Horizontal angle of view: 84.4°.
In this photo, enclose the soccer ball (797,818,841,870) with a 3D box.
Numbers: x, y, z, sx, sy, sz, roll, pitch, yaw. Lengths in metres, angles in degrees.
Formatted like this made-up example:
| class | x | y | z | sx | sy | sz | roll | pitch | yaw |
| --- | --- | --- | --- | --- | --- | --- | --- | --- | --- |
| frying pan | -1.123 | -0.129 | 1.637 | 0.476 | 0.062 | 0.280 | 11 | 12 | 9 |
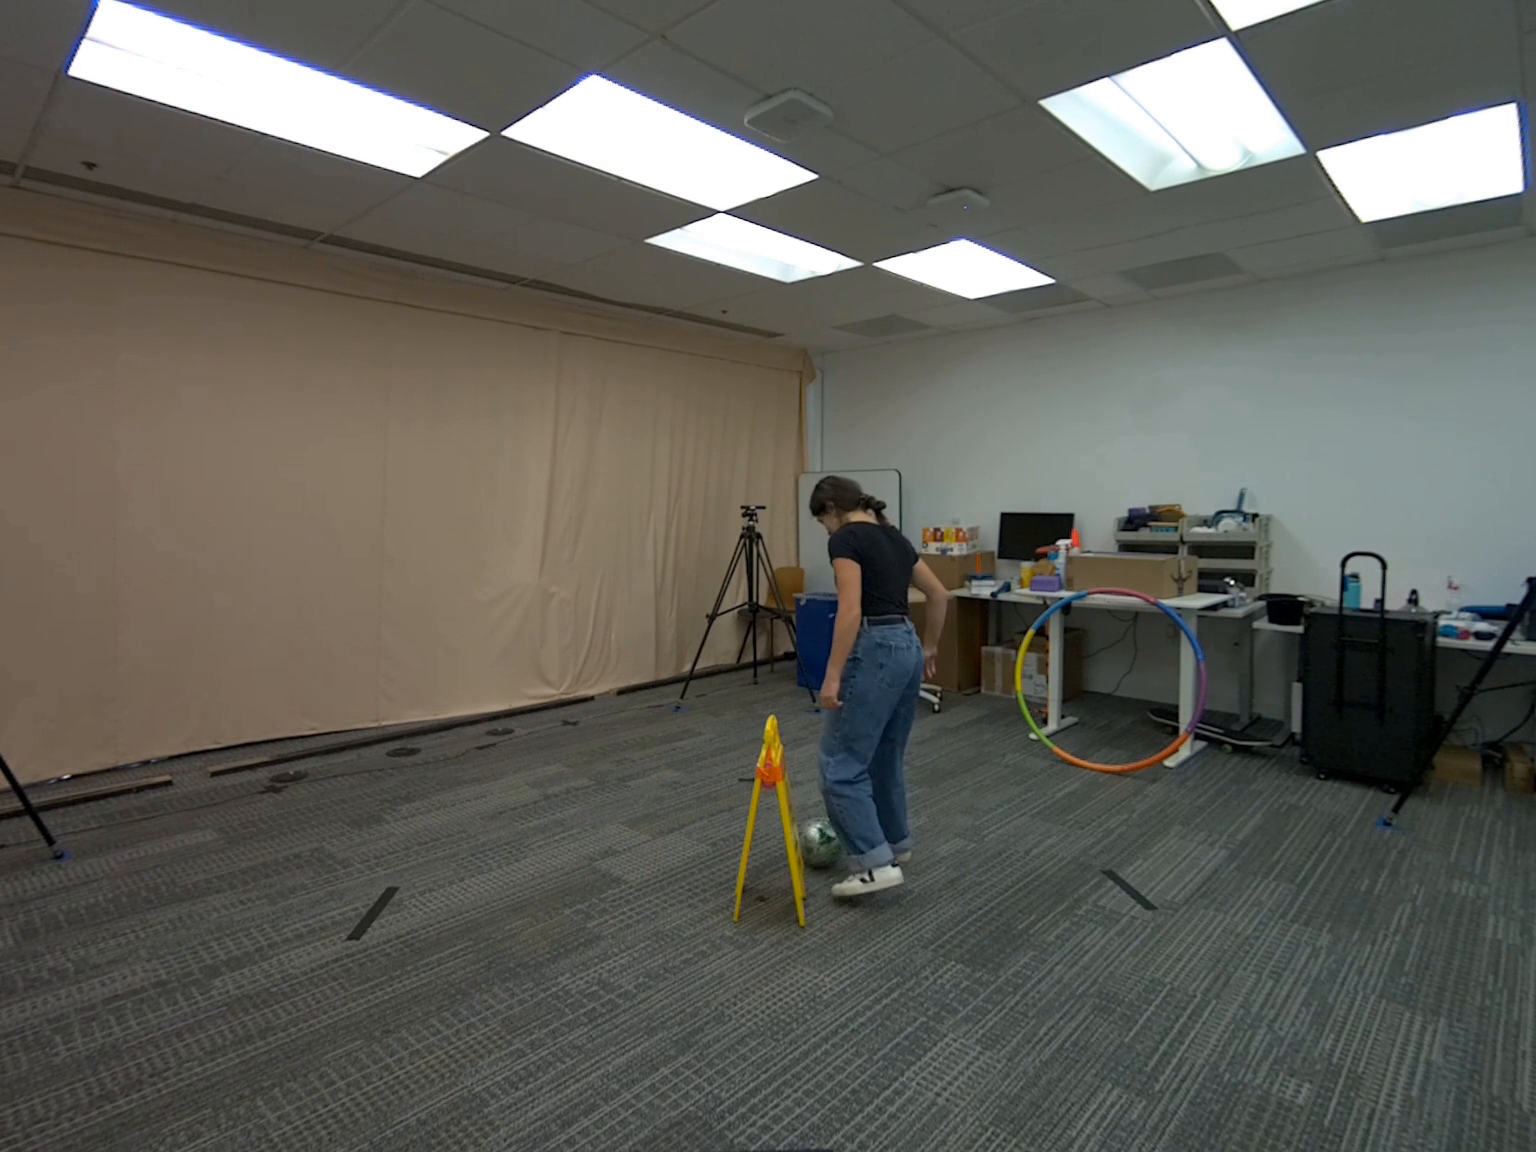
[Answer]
| class | x | y | z | sx | sy | sz | roll | pitch | yaw |
| --- | --- | --- | --- | --- | --- | --- | --- | --- | --- |
| soccer ball | 0.221 | 1.032 | 3.252 | 0.187 | 0.187 | 0.188 | 0 | 4 | -2 |
